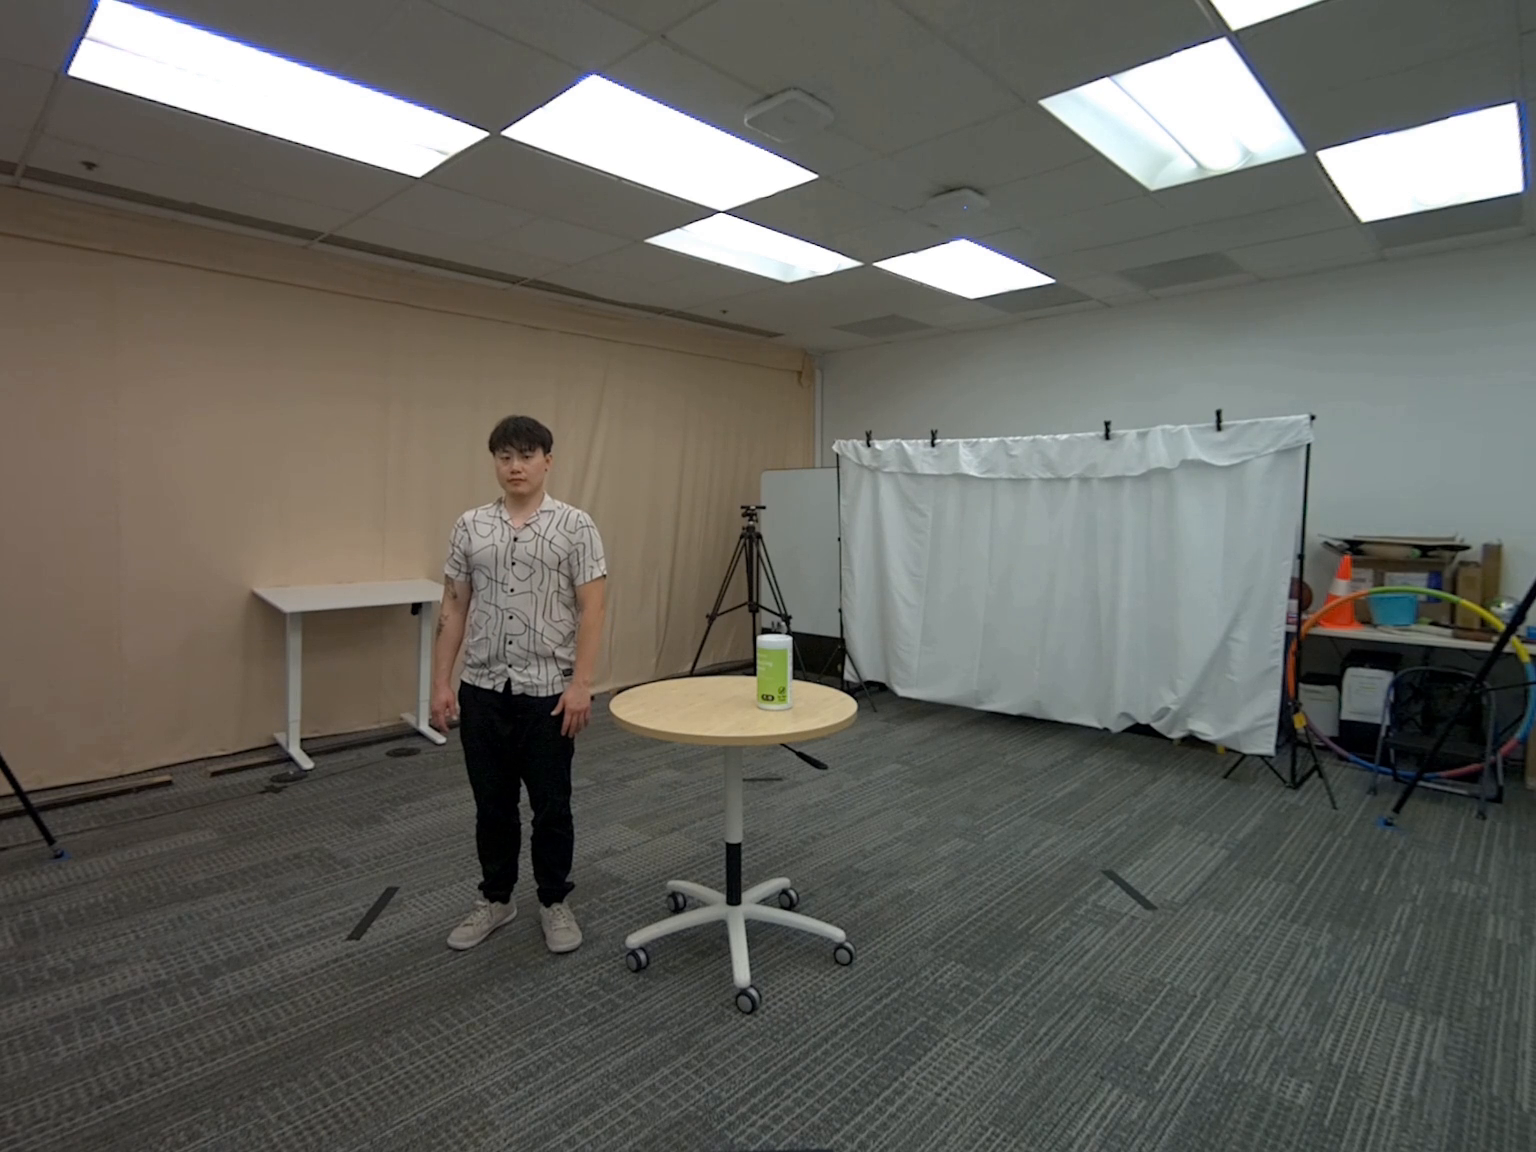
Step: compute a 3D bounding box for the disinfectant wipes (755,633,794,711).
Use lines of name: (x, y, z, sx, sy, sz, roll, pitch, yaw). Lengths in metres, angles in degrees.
disinfectant wipes: (0.022, 0.295, 2.543, 0.118, 0.217, 0.118, 1, 3, -2)
